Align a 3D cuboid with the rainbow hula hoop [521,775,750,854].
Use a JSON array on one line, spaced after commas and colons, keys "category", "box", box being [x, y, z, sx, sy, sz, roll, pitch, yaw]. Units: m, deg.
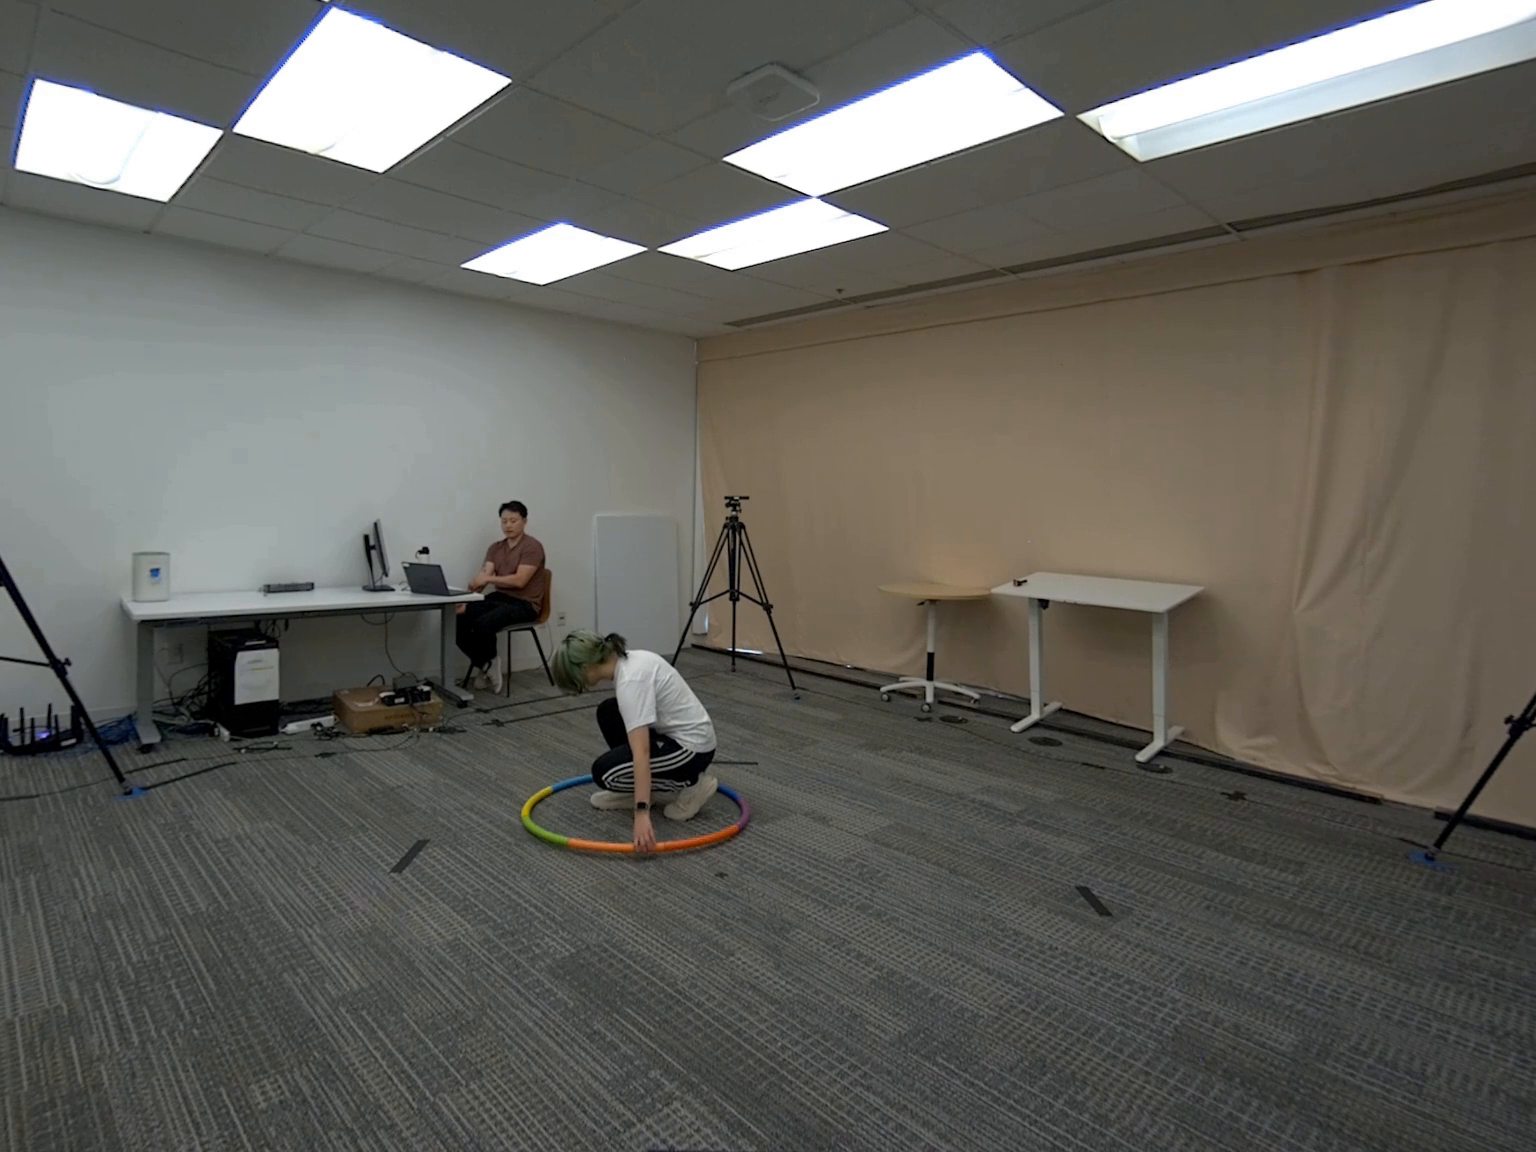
[{"category": "rainbow hula hoop", "box": [-0.582, 1.004, 3.697, 0.985, 0.051, 0.988, 2, 5, -1]}]
